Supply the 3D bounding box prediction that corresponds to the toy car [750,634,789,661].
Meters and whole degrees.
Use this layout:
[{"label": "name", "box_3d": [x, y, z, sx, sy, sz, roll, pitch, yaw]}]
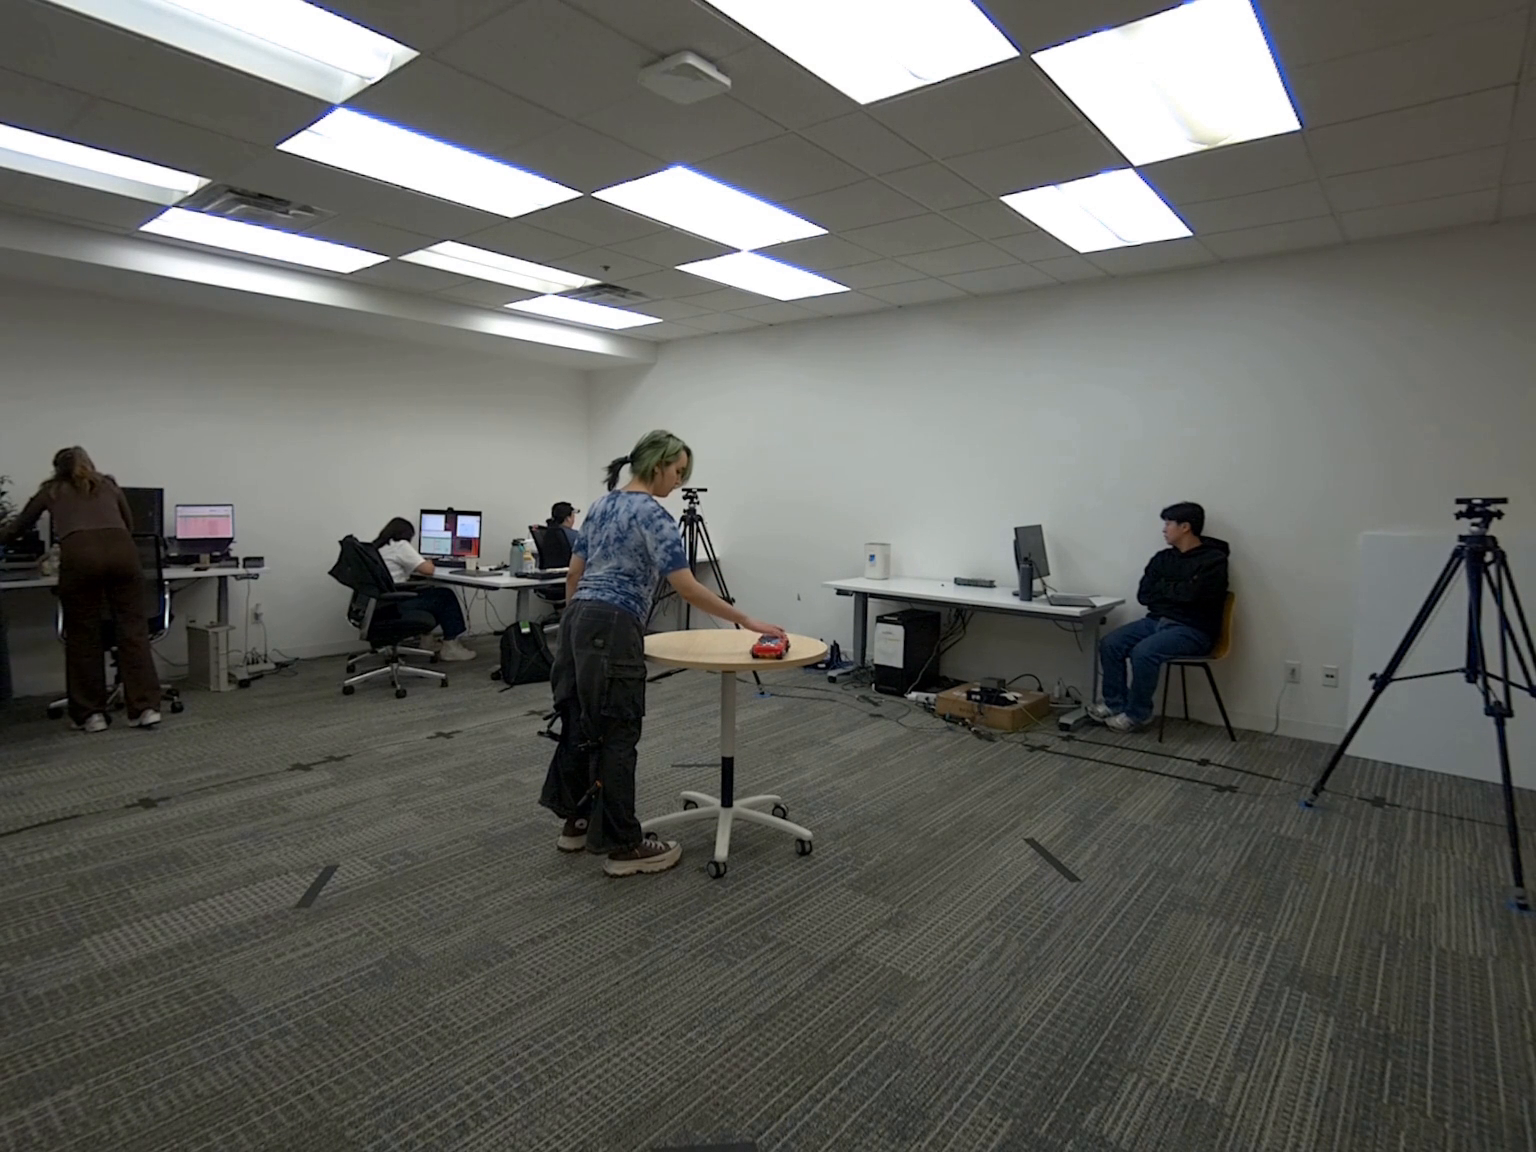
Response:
[{"label": "toy car", "box_3d": [-0.003, 0.256, 3.143, 0.132, 0.082, 0.255, 0, 16, 10]}]
